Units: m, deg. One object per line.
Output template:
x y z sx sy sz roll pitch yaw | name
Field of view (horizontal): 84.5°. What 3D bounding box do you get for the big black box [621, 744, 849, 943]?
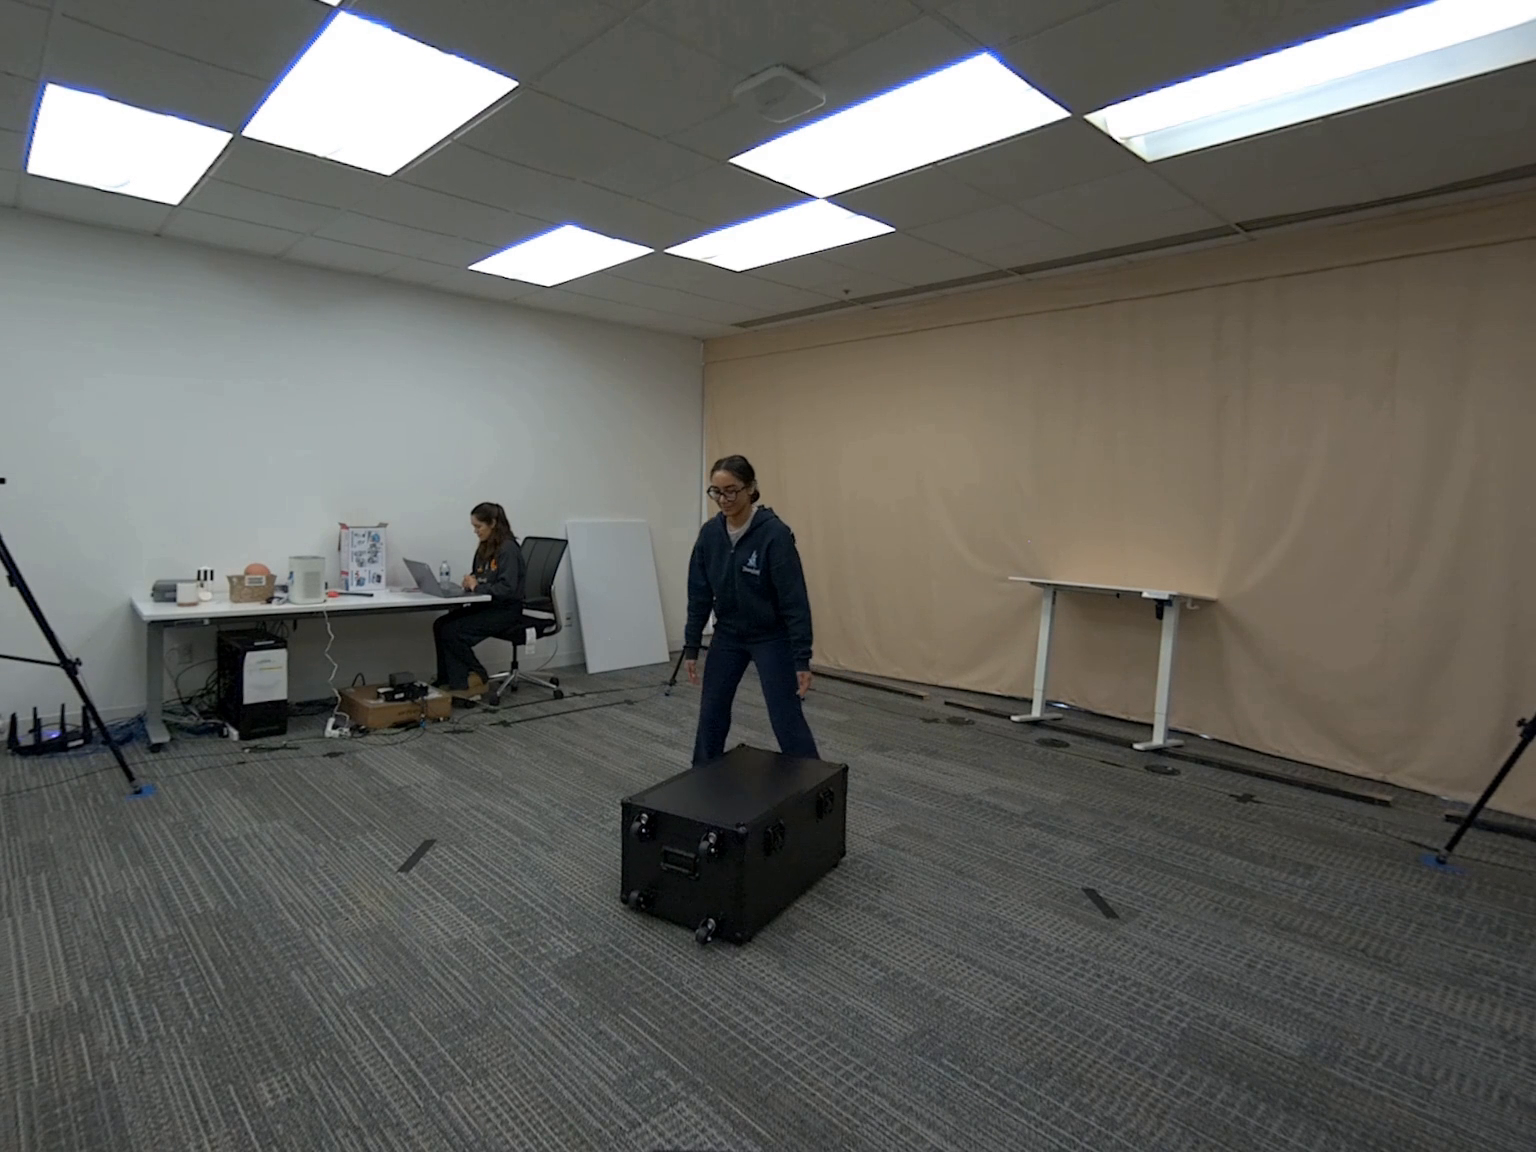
-0.120 0.924 3.003 0.532 0.395 0.845 4 5 29 | big black box
